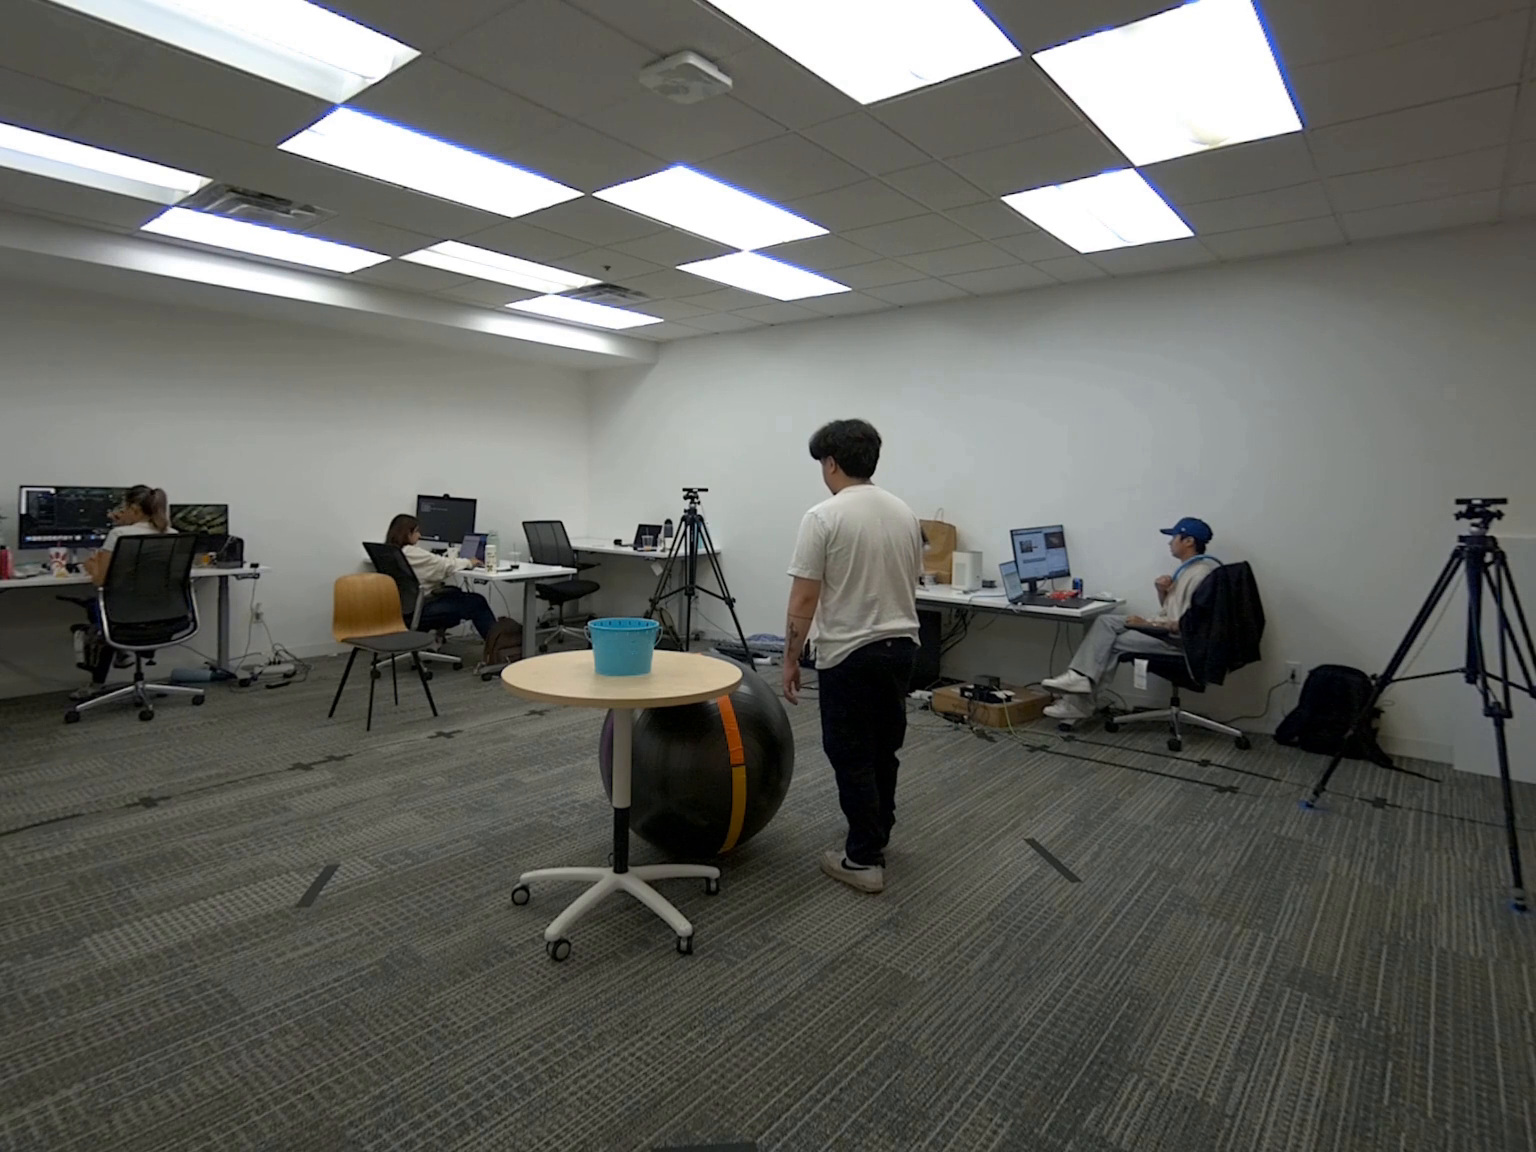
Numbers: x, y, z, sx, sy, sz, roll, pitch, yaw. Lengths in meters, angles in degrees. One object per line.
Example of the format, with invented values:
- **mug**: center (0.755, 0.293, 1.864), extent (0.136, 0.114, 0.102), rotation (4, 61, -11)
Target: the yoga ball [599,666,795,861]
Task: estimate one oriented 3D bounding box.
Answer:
- **yoga ball**: center (-0.288, 0.683, 3.298), extent (0.757, 0.756, 0.761), rotation (1, 4, -2)
